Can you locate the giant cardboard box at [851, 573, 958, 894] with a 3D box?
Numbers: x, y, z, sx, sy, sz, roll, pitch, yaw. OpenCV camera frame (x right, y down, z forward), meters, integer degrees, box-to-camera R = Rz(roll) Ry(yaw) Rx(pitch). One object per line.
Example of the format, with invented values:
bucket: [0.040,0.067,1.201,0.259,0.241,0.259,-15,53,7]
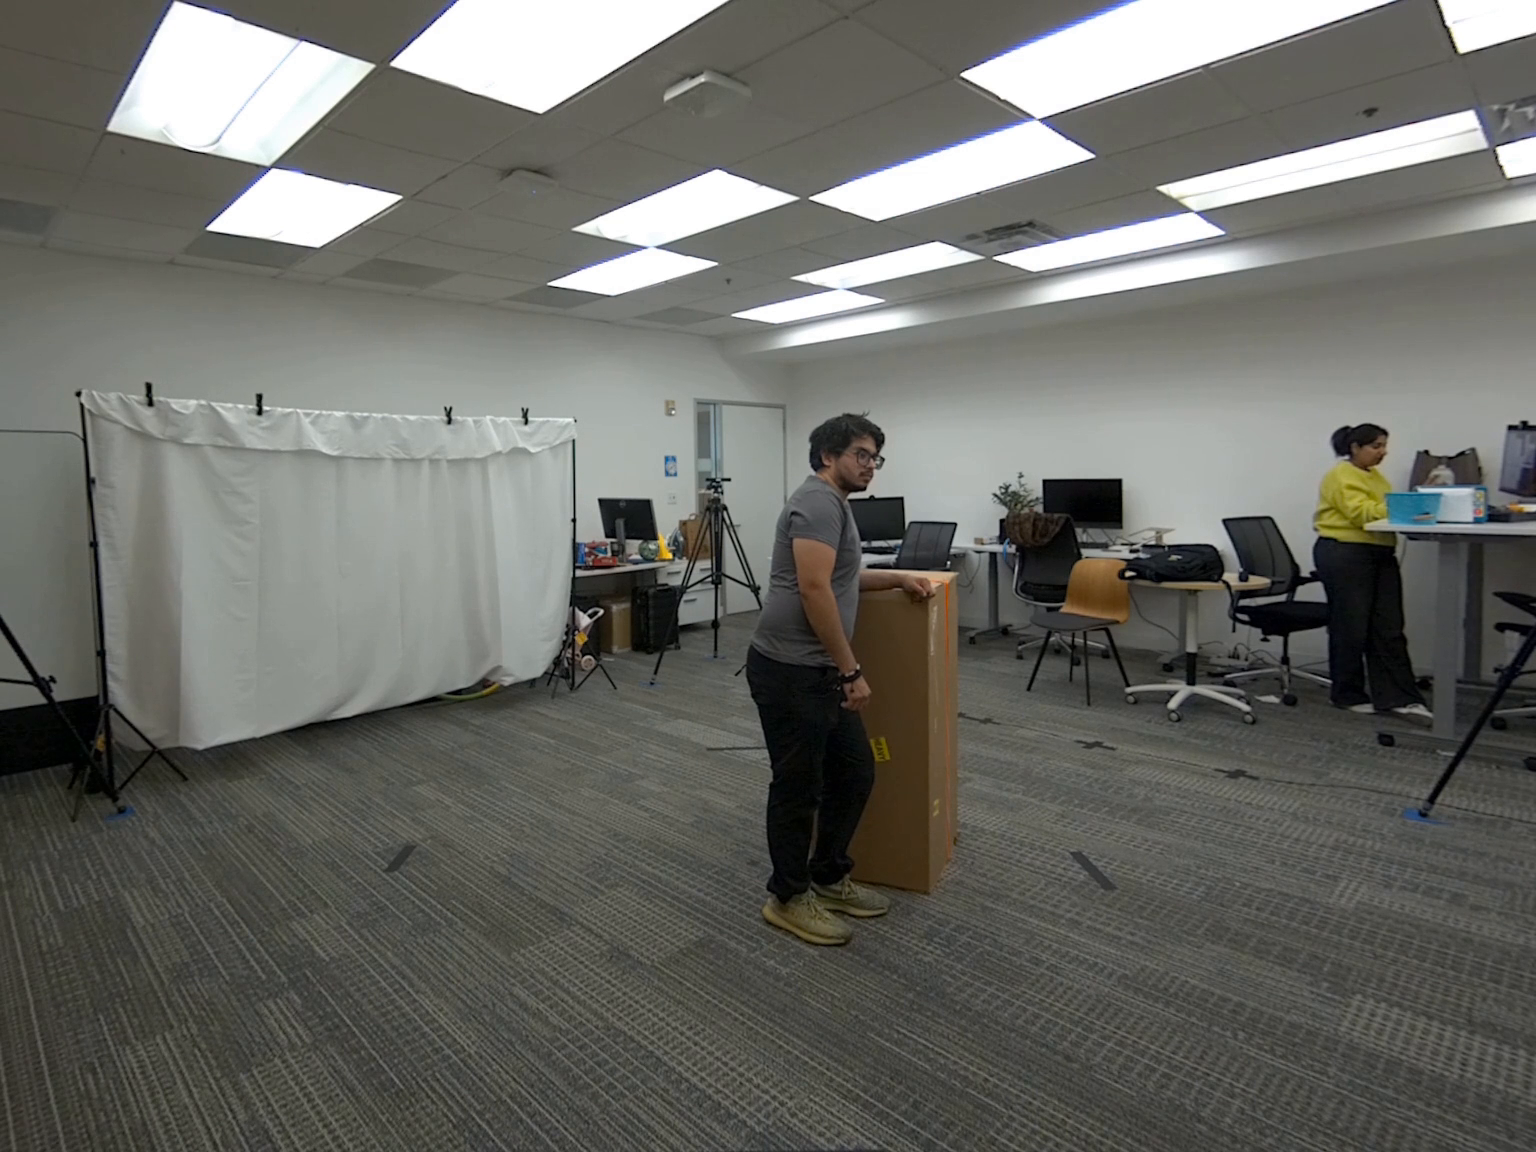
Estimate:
giant cardboard box: [0.454,0.519,3.166,0.436,1.022,0.567,1,4,24]
